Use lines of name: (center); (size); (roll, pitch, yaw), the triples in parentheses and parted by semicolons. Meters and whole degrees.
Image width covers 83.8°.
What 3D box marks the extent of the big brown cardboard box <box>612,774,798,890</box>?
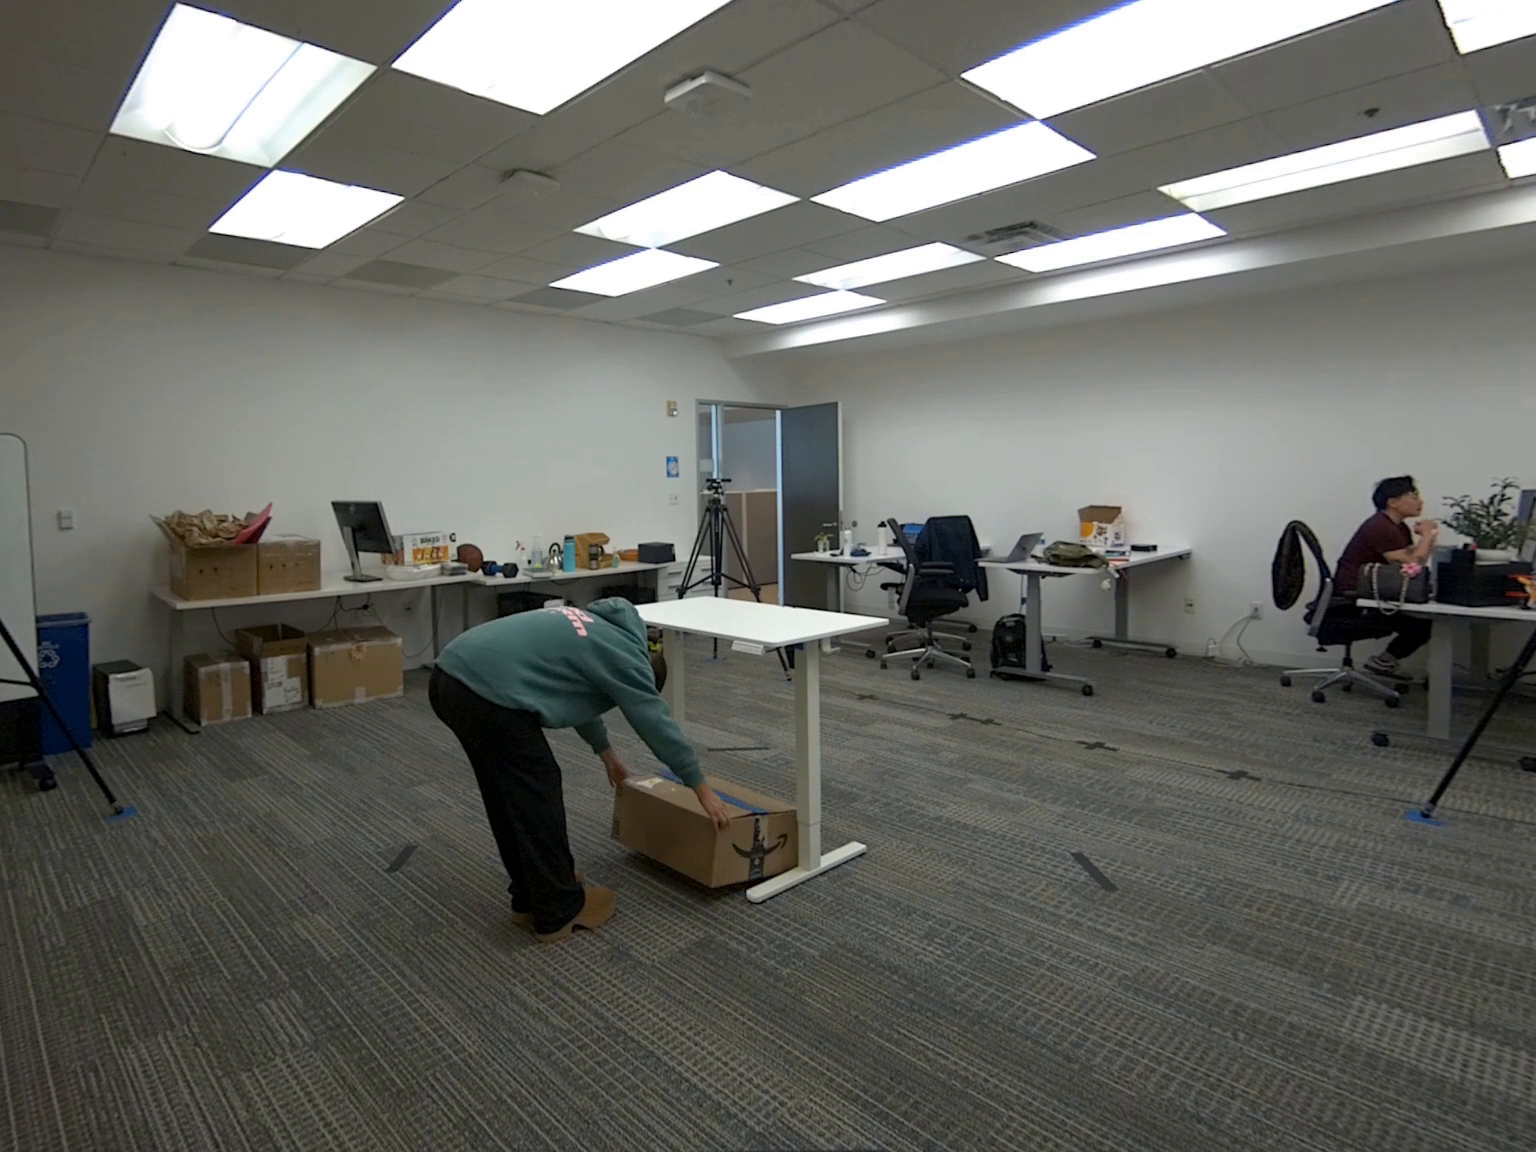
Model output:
big brown cardboard box: (-0.230, 0.903, 3.117); (0.404, 0.233, 0.607); (7, -1, -44)
